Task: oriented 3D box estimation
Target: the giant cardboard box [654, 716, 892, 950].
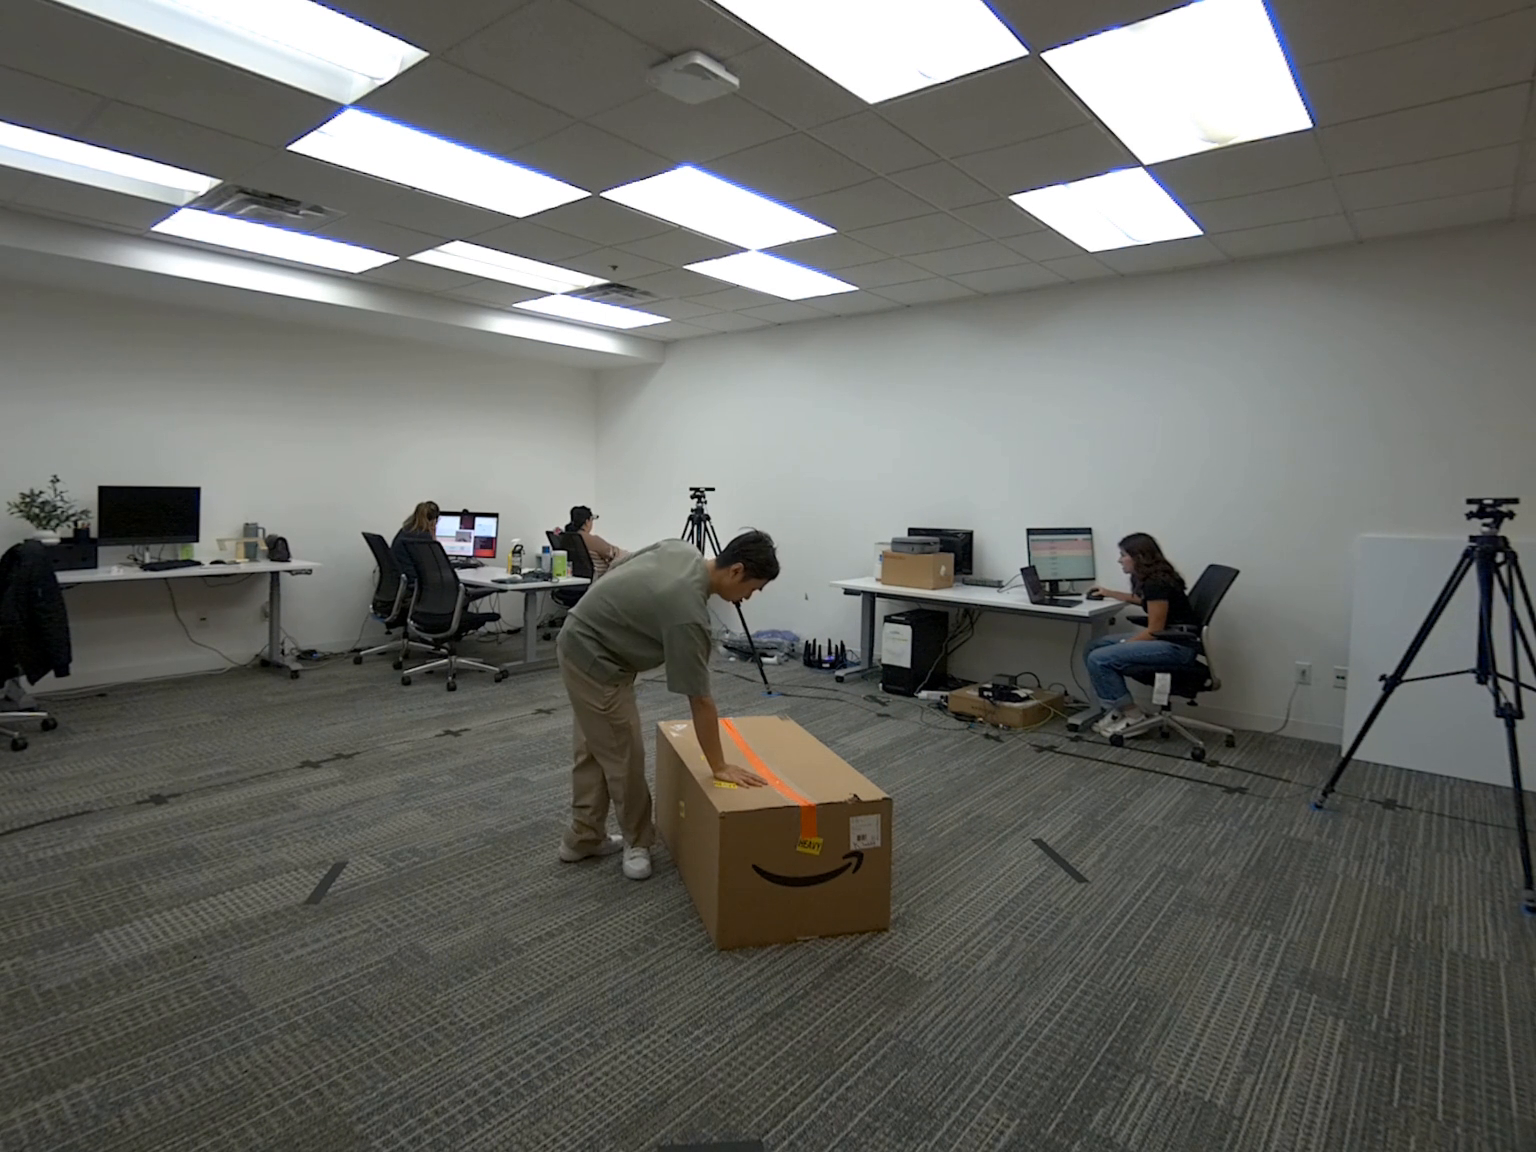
[{"bbox_3d":[-0.041,0.858,3.102,0.568,0.424,1.048,-1,6,-17],"label":"giant cardboard box"}]
